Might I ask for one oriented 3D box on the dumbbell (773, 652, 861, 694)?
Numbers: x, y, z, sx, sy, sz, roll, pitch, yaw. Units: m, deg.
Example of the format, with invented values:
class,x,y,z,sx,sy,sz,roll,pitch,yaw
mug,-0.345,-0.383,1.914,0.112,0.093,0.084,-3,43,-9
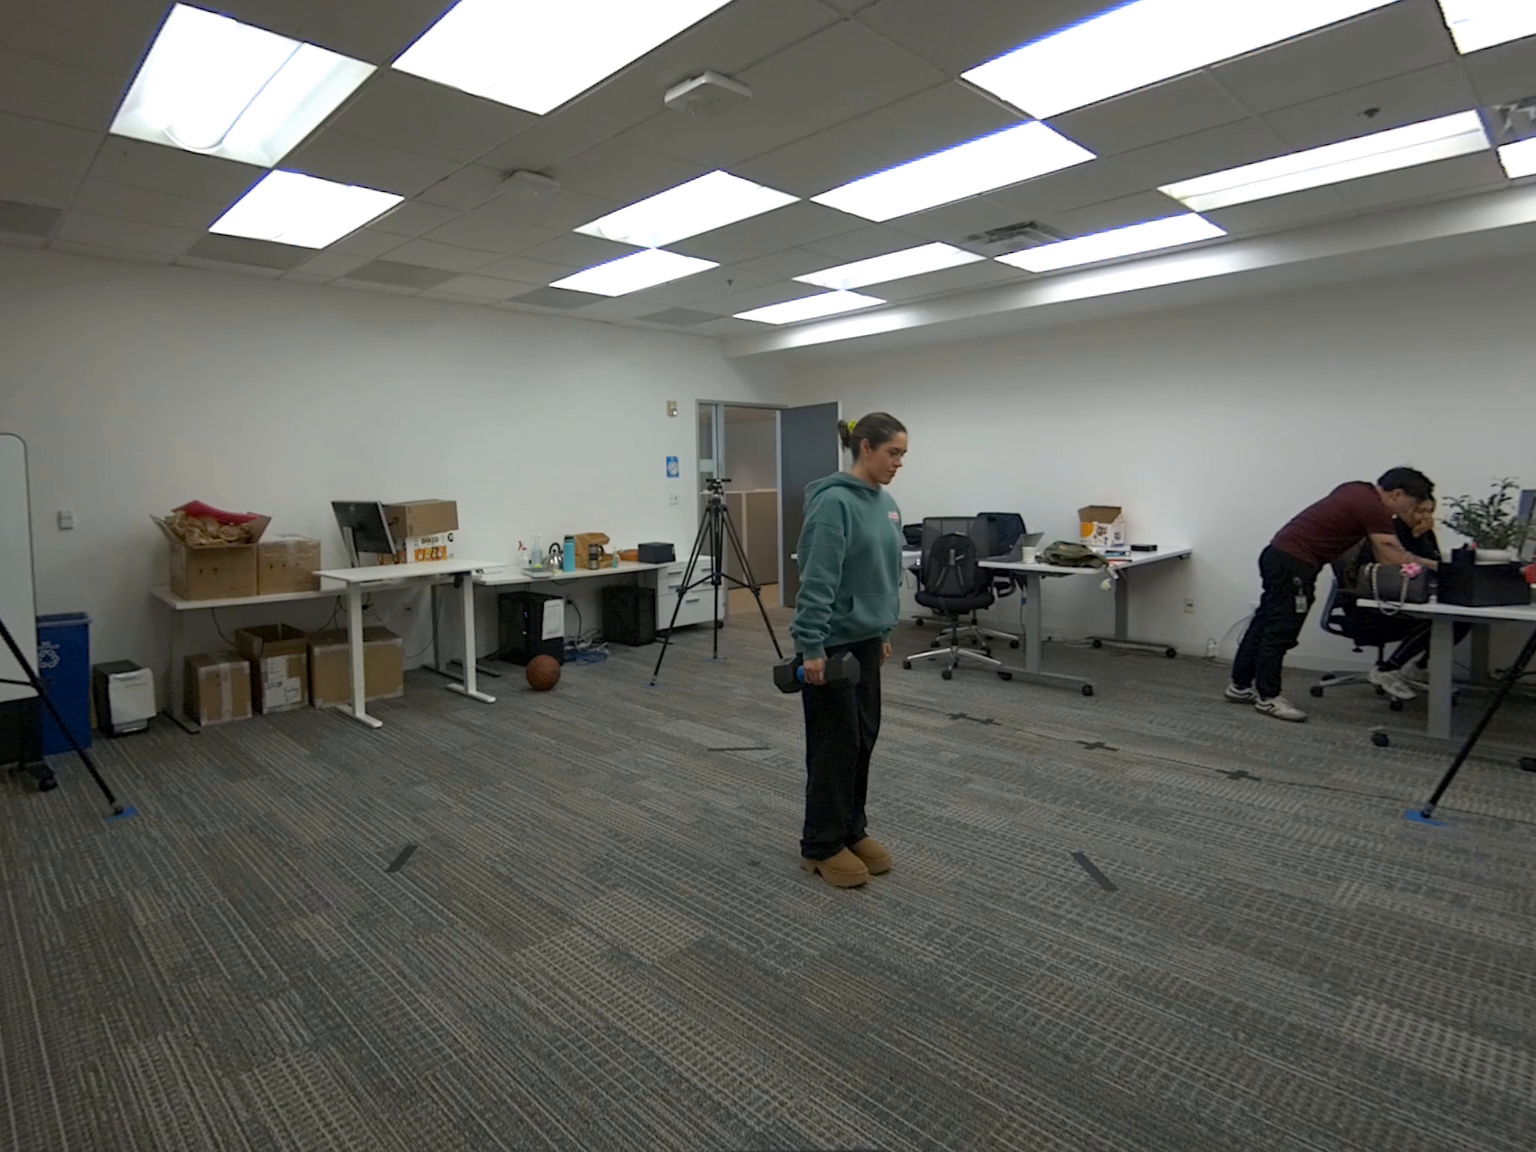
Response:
class,x,y,z,sx,sy,sz,roll,pitch,yaw
dumbbell,0.165,0.329,2.882,0.300,0.110,0.118,-10,-46,36
